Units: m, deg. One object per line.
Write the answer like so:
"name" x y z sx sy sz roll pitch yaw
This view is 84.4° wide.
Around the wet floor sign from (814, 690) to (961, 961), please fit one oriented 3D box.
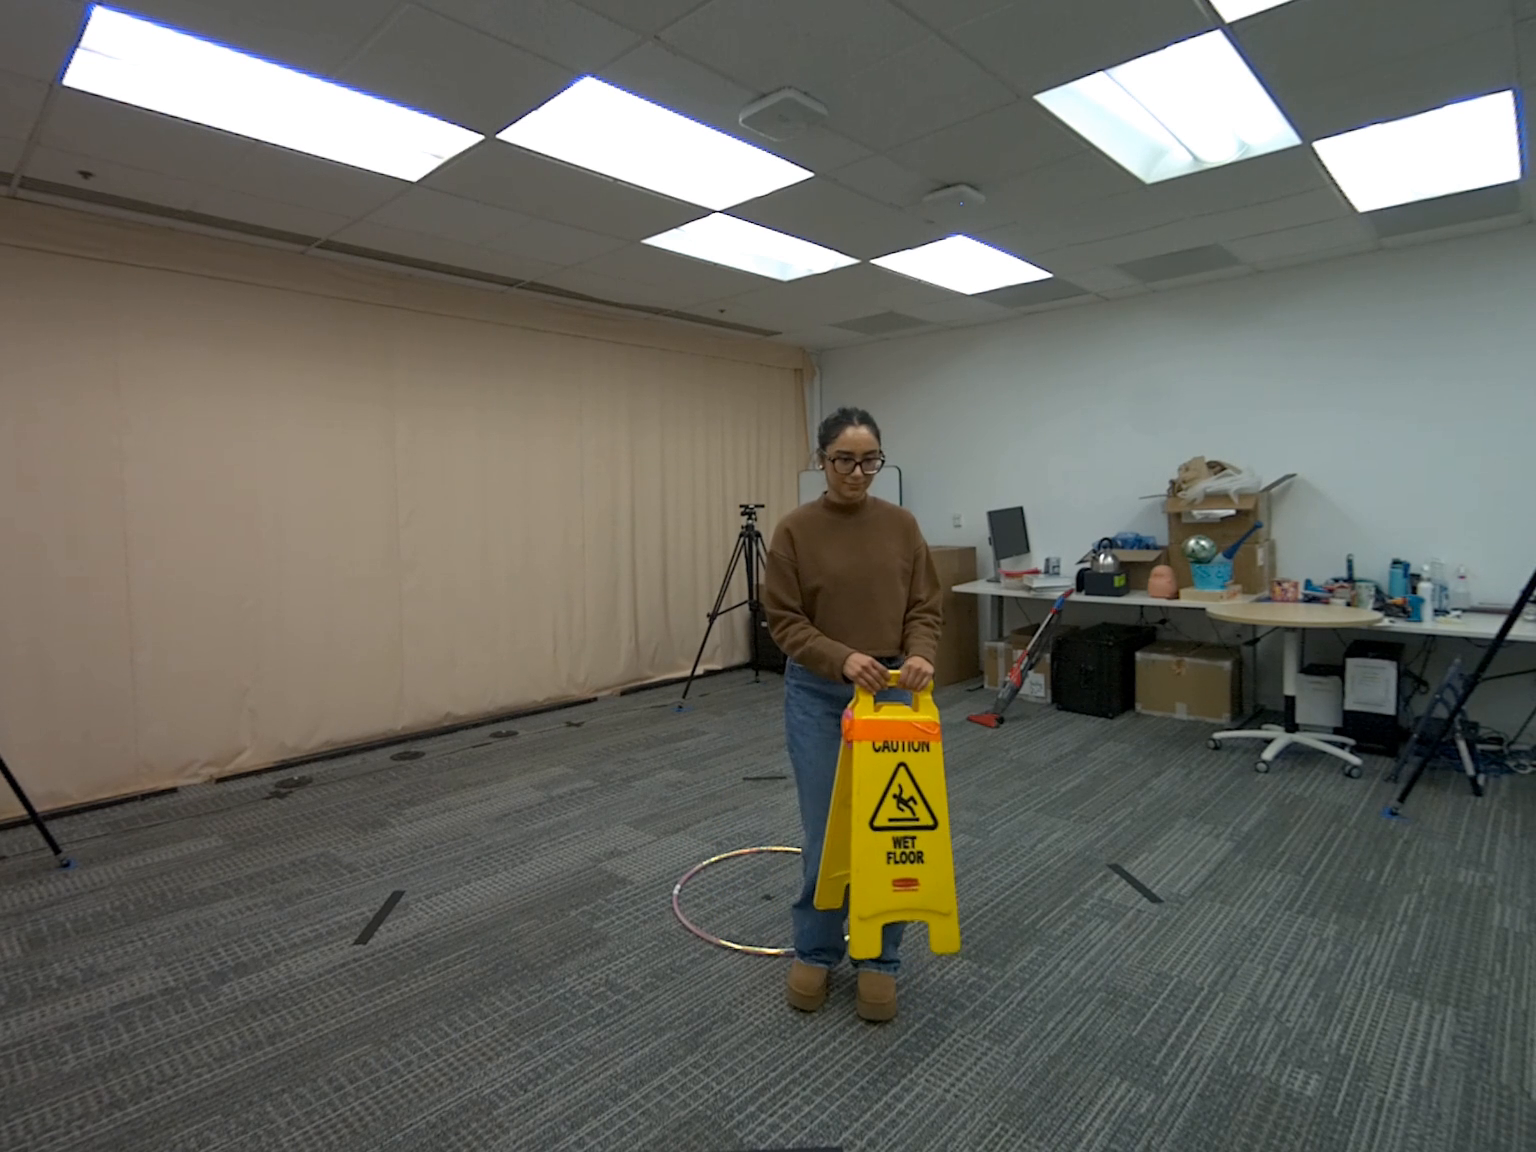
"wet floor sign" 0.302 0.566 2.105 0.278 0.645 0.294 1 1 -14
